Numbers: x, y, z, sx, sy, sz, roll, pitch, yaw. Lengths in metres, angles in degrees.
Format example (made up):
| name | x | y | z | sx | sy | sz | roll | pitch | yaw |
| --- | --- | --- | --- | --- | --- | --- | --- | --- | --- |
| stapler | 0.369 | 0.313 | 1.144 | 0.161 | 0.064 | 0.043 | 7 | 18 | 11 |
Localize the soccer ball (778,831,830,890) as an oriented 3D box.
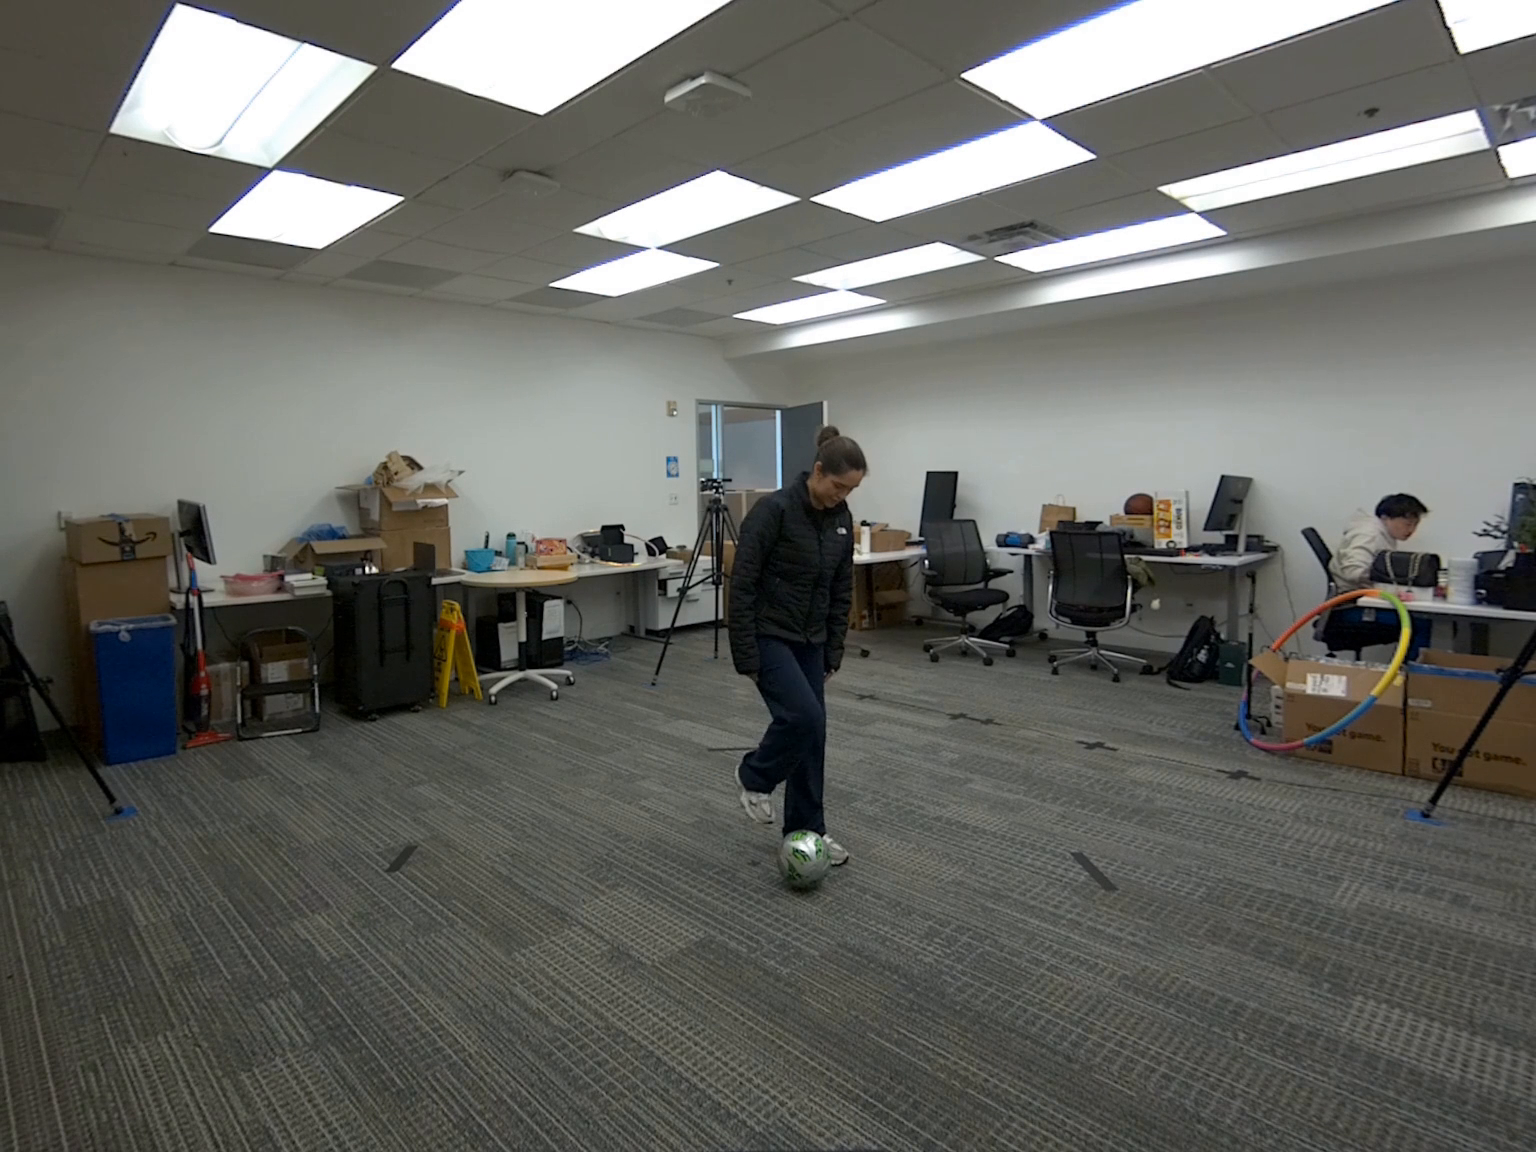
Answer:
| name | x | y | z | sx | sy | sz | roll | pitch | yaw |
| --- | --- | --- | --- | --- | --- | --- | --- | --- | --- |
| soccer ball | 0.127 | 0.968 | 2.920 | 0.187 | 0.187 | 0.188 | -1 | 5 | -2 |
